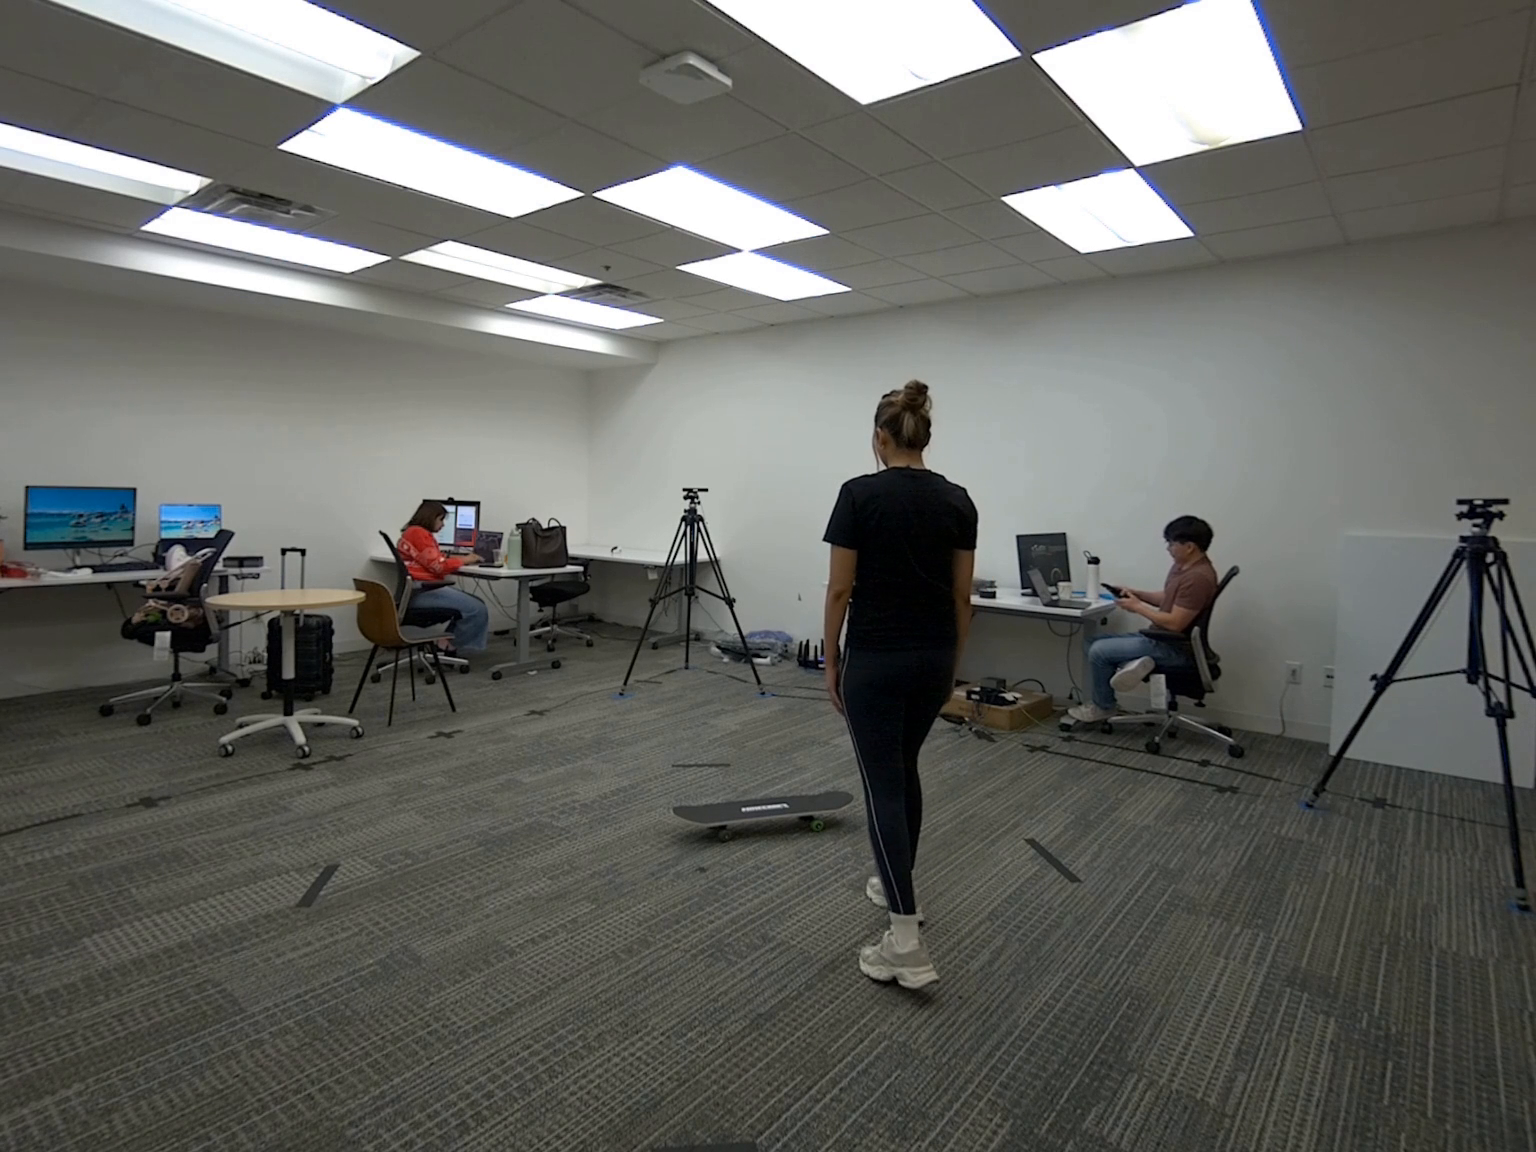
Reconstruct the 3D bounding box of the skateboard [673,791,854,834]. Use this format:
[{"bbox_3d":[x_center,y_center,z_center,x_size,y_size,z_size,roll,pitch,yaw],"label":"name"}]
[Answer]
[{"bbox_3d":[-0.025,0.979,3.494,0.771,0.110,0.198,-1,6,-18],"label":"skateboard"}]
